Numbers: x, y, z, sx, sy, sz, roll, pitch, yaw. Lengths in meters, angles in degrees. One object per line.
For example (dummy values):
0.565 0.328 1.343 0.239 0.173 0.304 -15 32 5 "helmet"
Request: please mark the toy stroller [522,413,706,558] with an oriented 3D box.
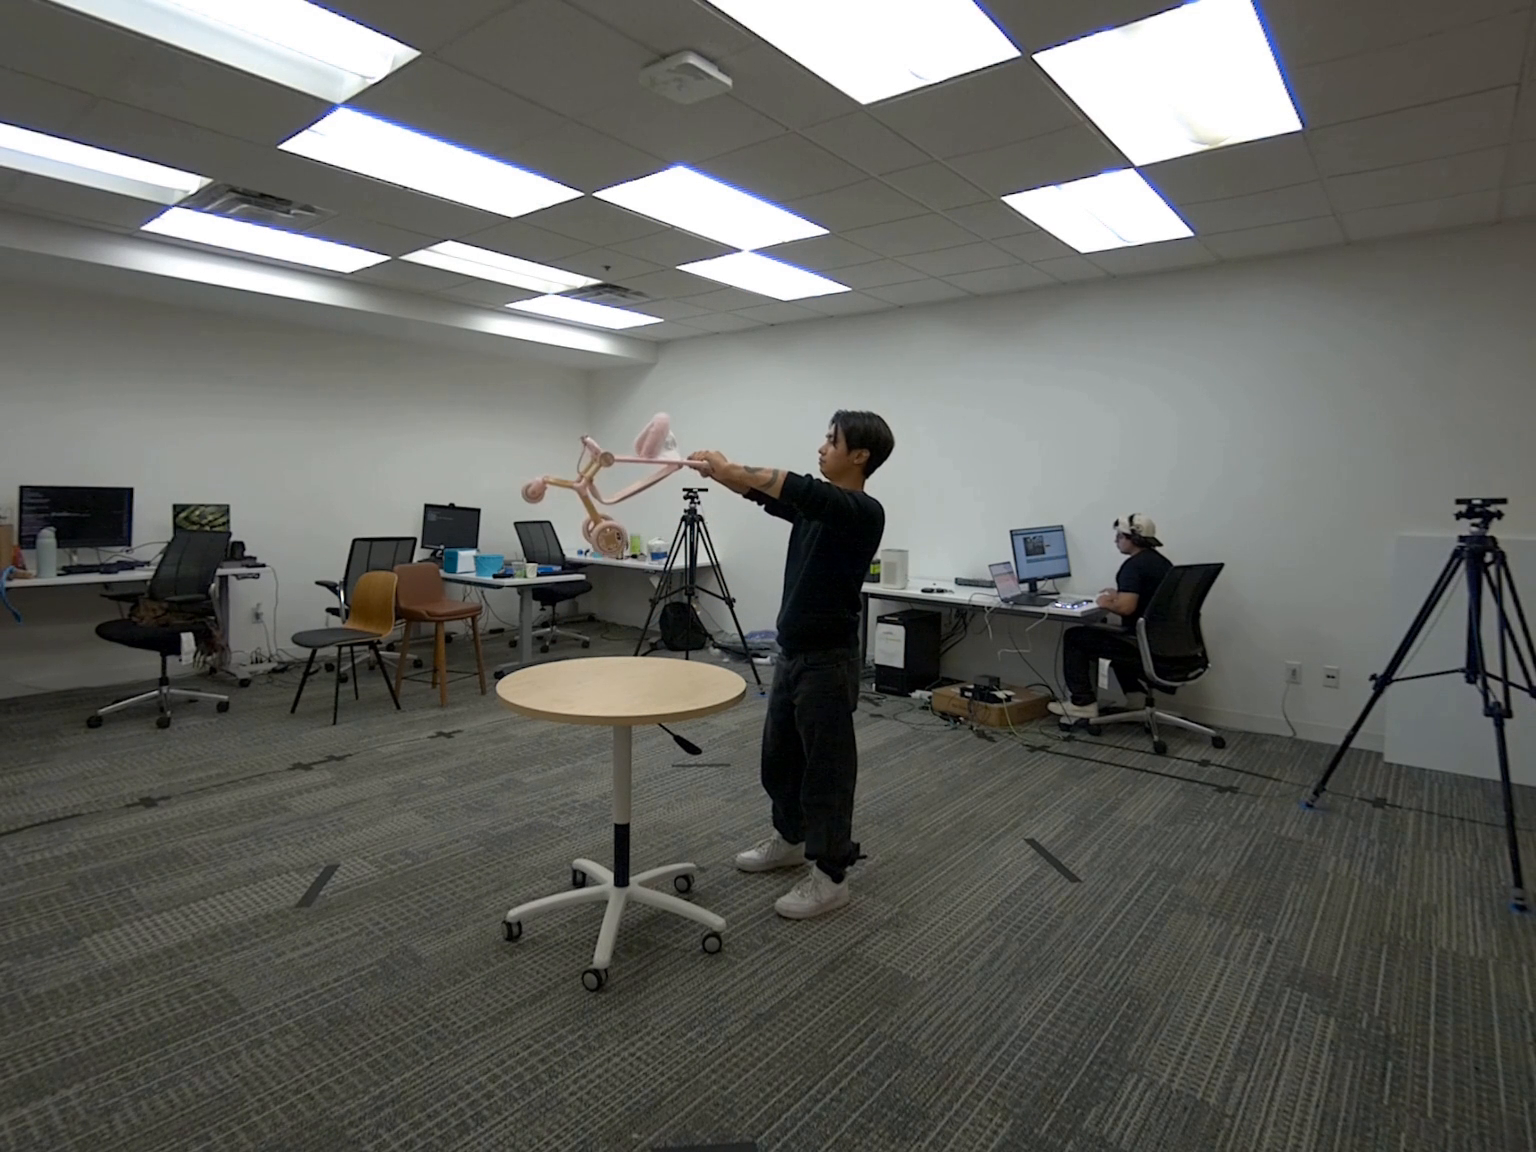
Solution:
-0.475 -0.310 2.641 0.534 0.336 0.286 -42 12 -6 "toy stroller"
